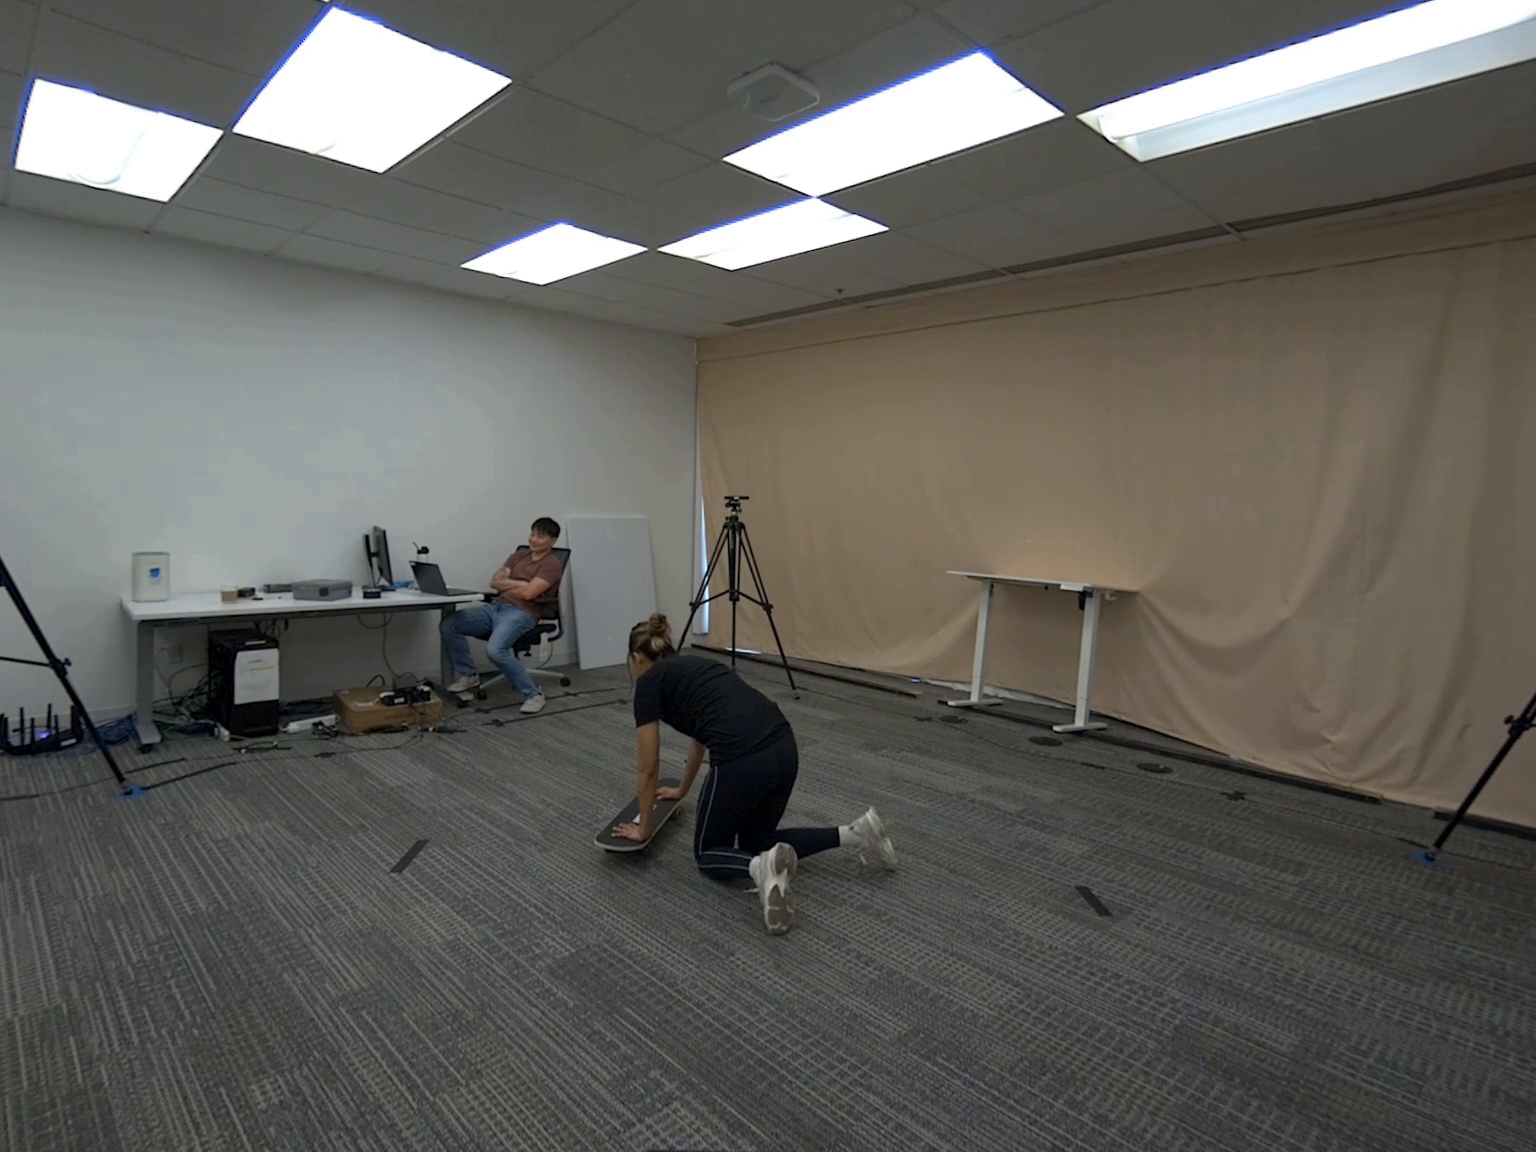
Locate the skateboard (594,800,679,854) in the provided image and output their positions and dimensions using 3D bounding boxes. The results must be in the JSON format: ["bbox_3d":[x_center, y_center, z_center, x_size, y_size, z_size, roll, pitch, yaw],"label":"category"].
[{"bbox_3d":[-0.520,1.008,3.457,0.195,0.110,0.779,3,5,11],"label":"skateboard"}]
